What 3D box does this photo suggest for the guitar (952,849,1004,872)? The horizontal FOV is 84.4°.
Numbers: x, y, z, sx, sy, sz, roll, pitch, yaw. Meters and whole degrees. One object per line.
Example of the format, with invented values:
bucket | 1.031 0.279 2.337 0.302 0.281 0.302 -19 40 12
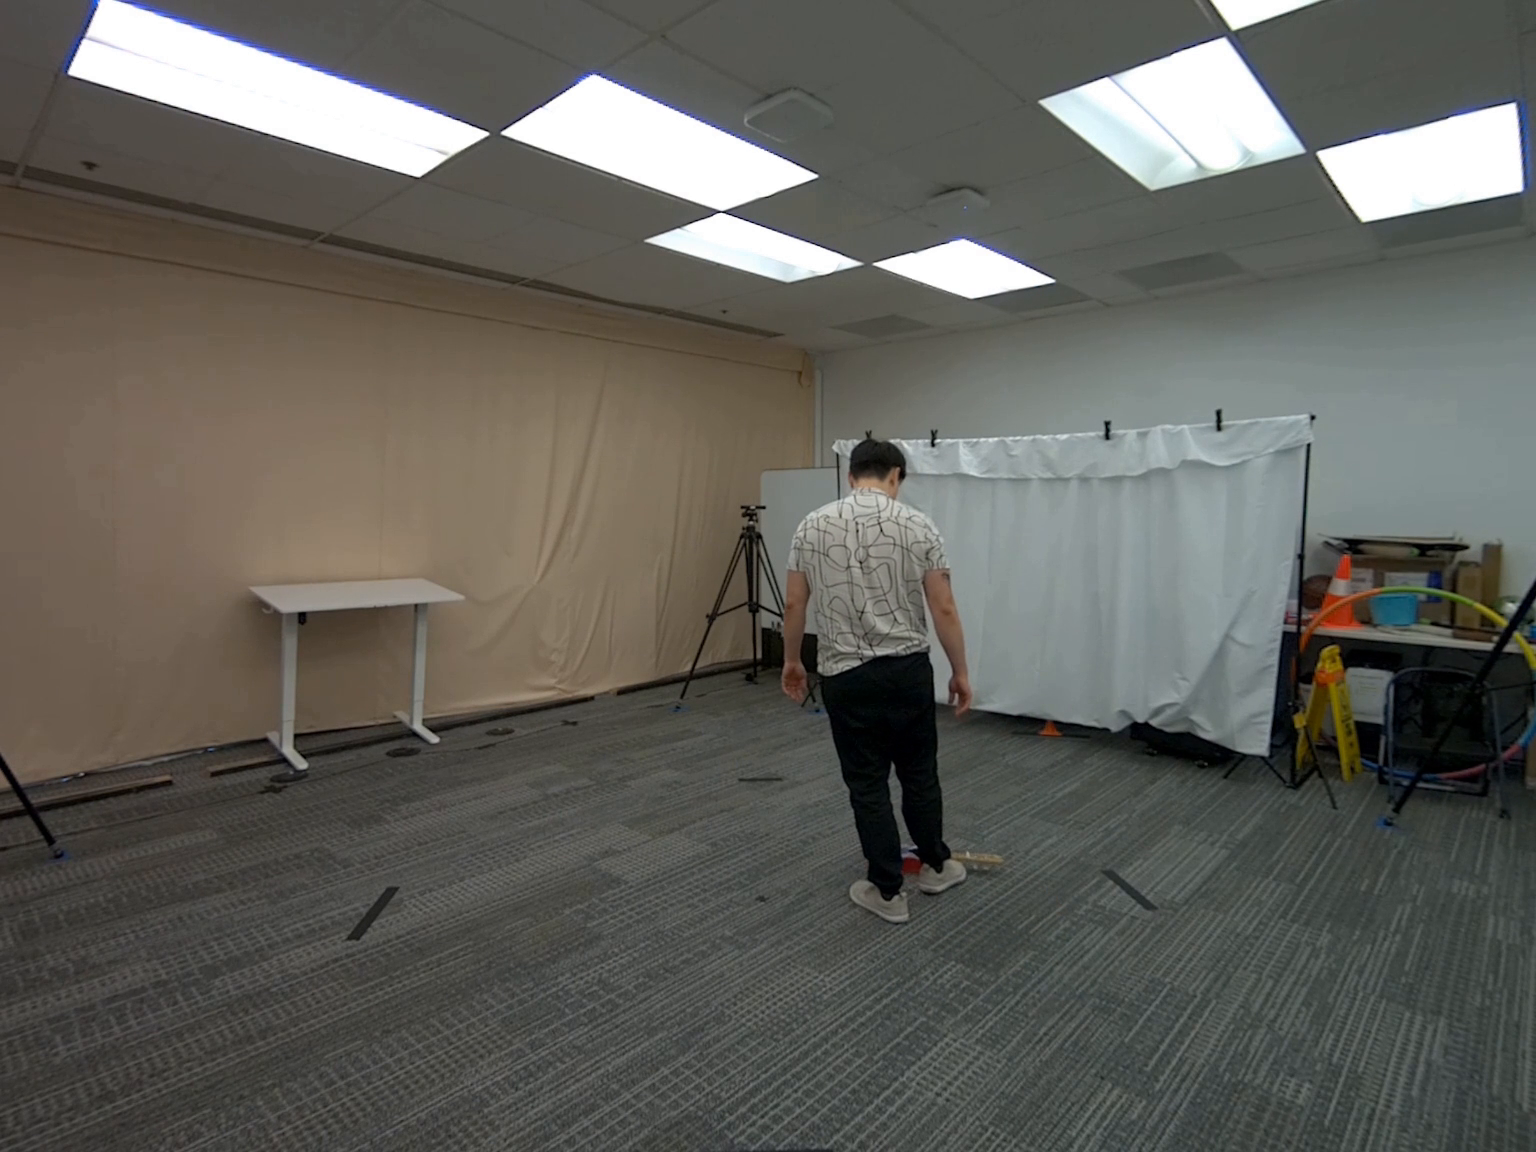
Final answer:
guitar | 0.639 1.089 3.197 0.509 0.070 0.189 1 4 22
